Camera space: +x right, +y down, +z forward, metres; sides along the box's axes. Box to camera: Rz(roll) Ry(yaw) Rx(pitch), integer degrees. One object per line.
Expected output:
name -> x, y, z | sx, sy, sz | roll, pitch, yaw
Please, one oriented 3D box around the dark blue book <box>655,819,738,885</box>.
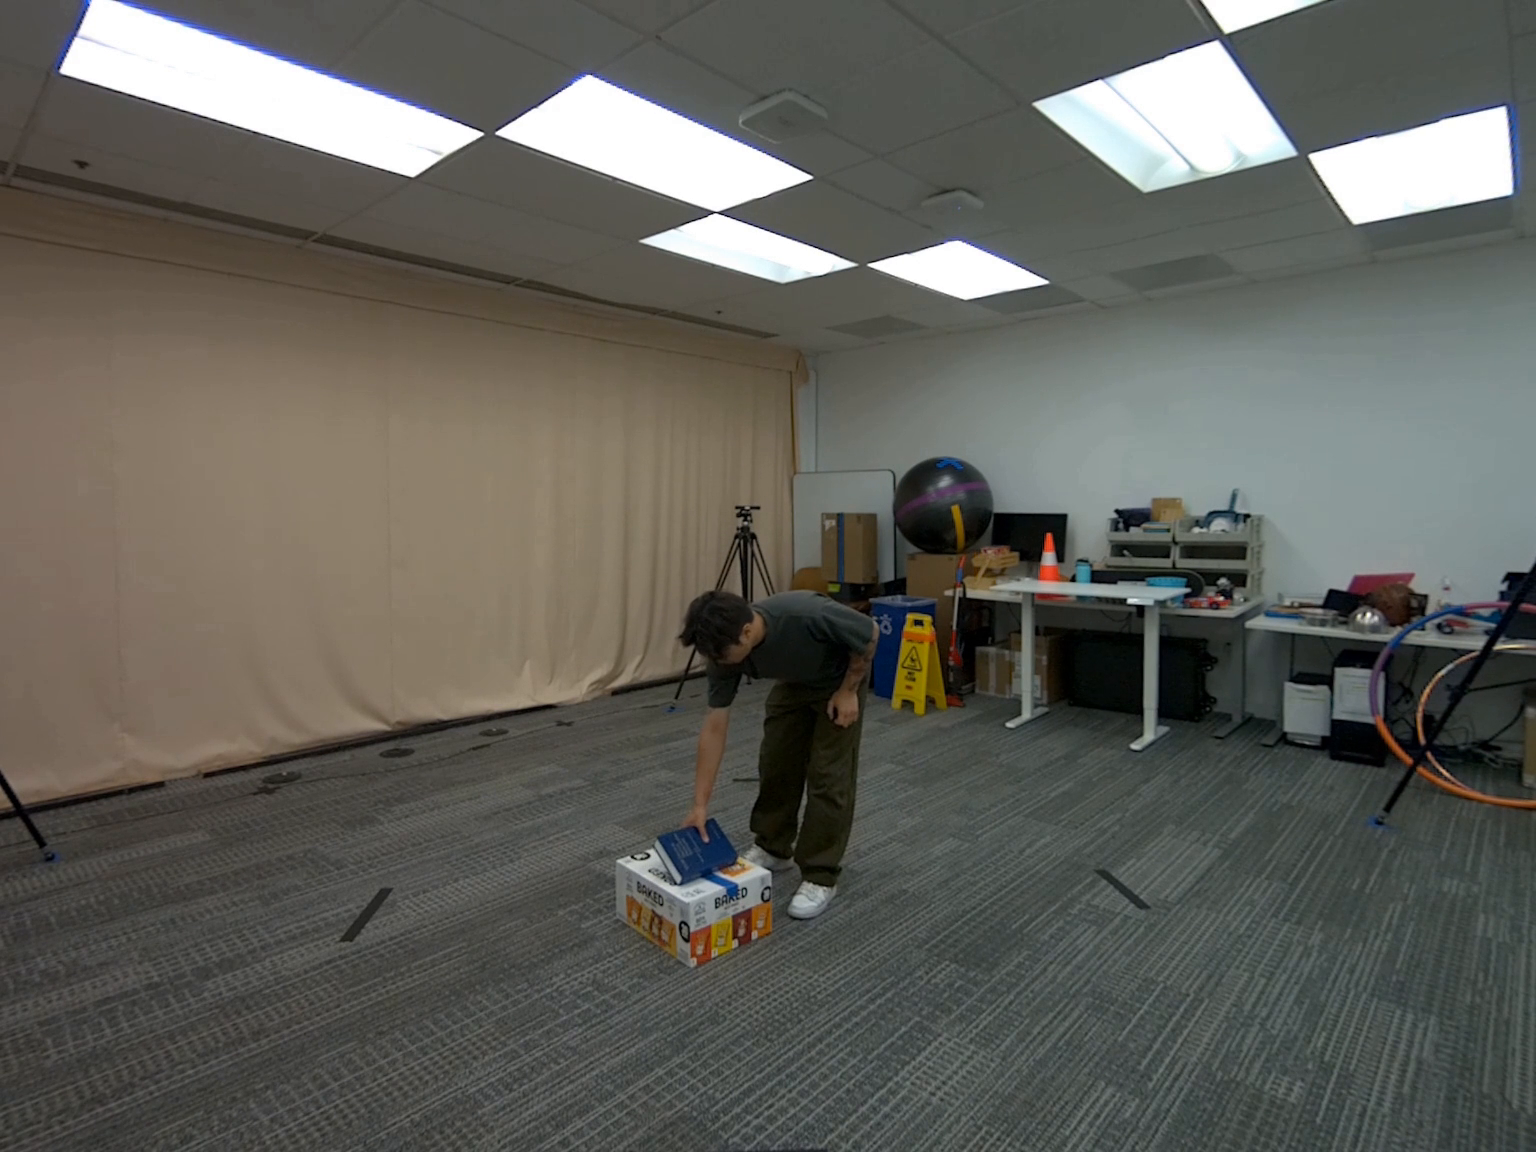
dark blue book -> -0.229, 0.913, 2.761 | 0.238, 0.045, 0.169 | -2, 38, -38
